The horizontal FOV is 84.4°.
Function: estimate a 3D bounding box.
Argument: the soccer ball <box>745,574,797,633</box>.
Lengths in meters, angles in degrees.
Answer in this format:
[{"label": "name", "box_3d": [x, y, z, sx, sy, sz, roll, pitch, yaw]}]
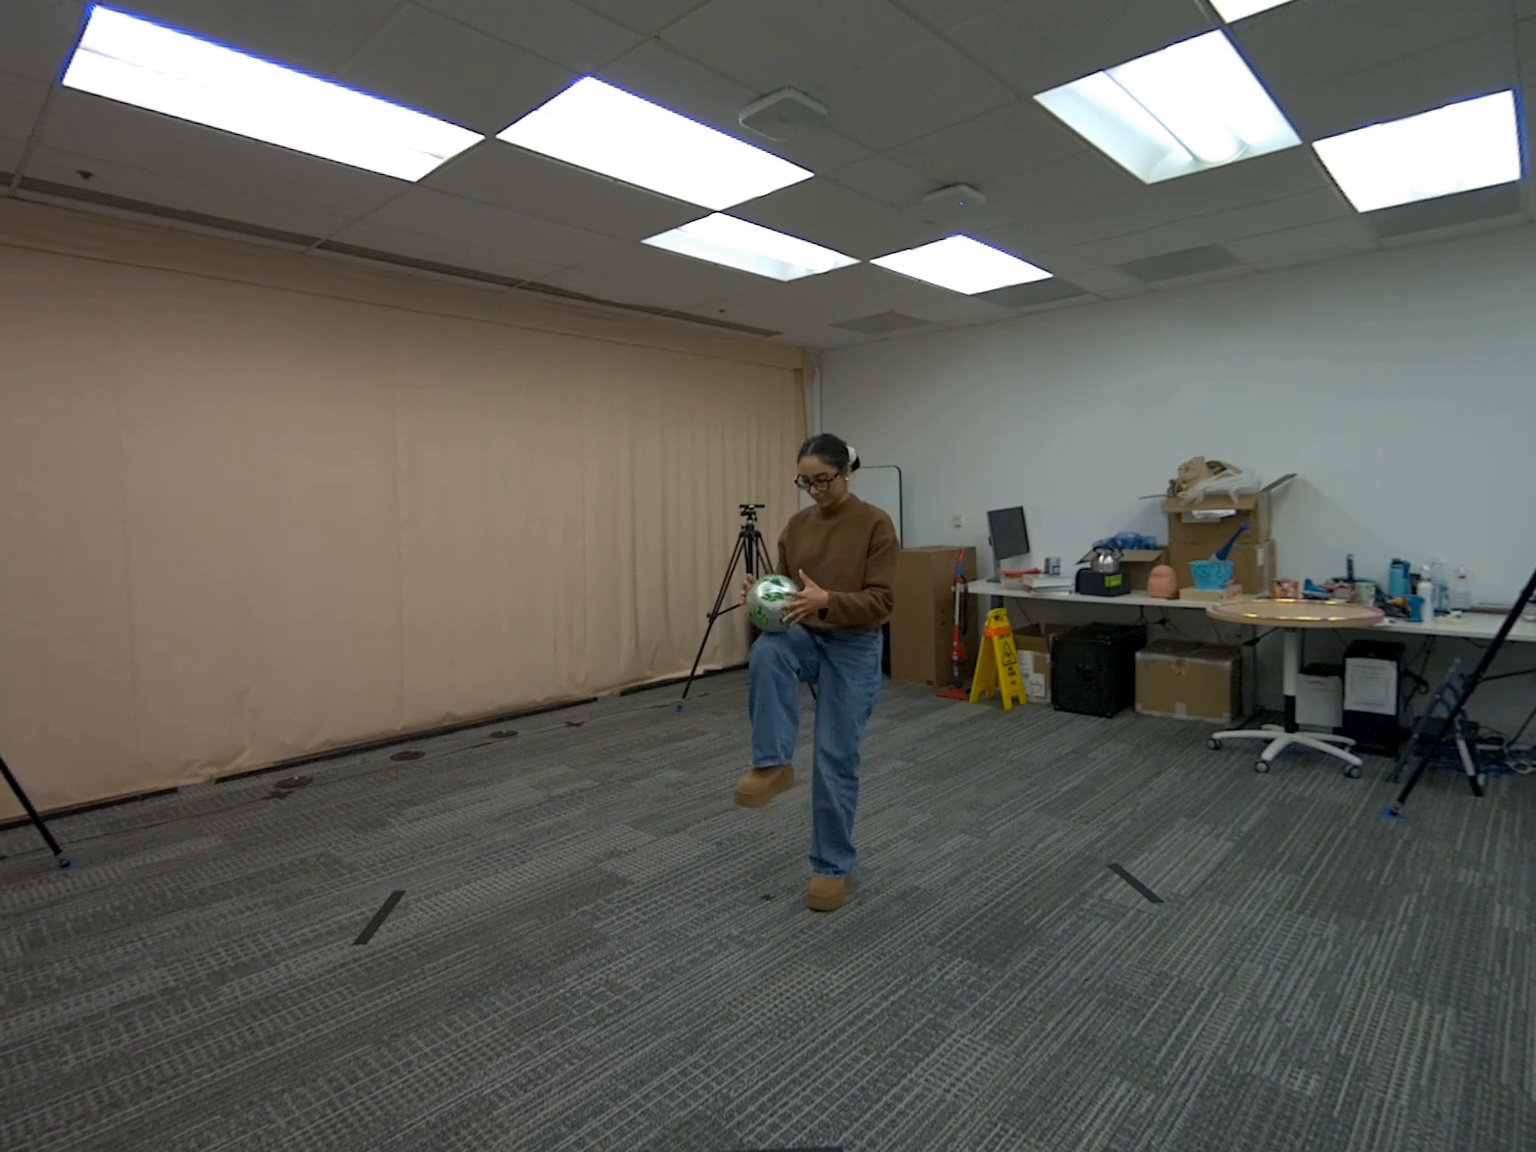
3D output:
[{"label": "soccer ball", "box_3d": [0.033, 0.058, 2.726, 0.187, 0.187, 0.188, -1, 4, -2]}]
